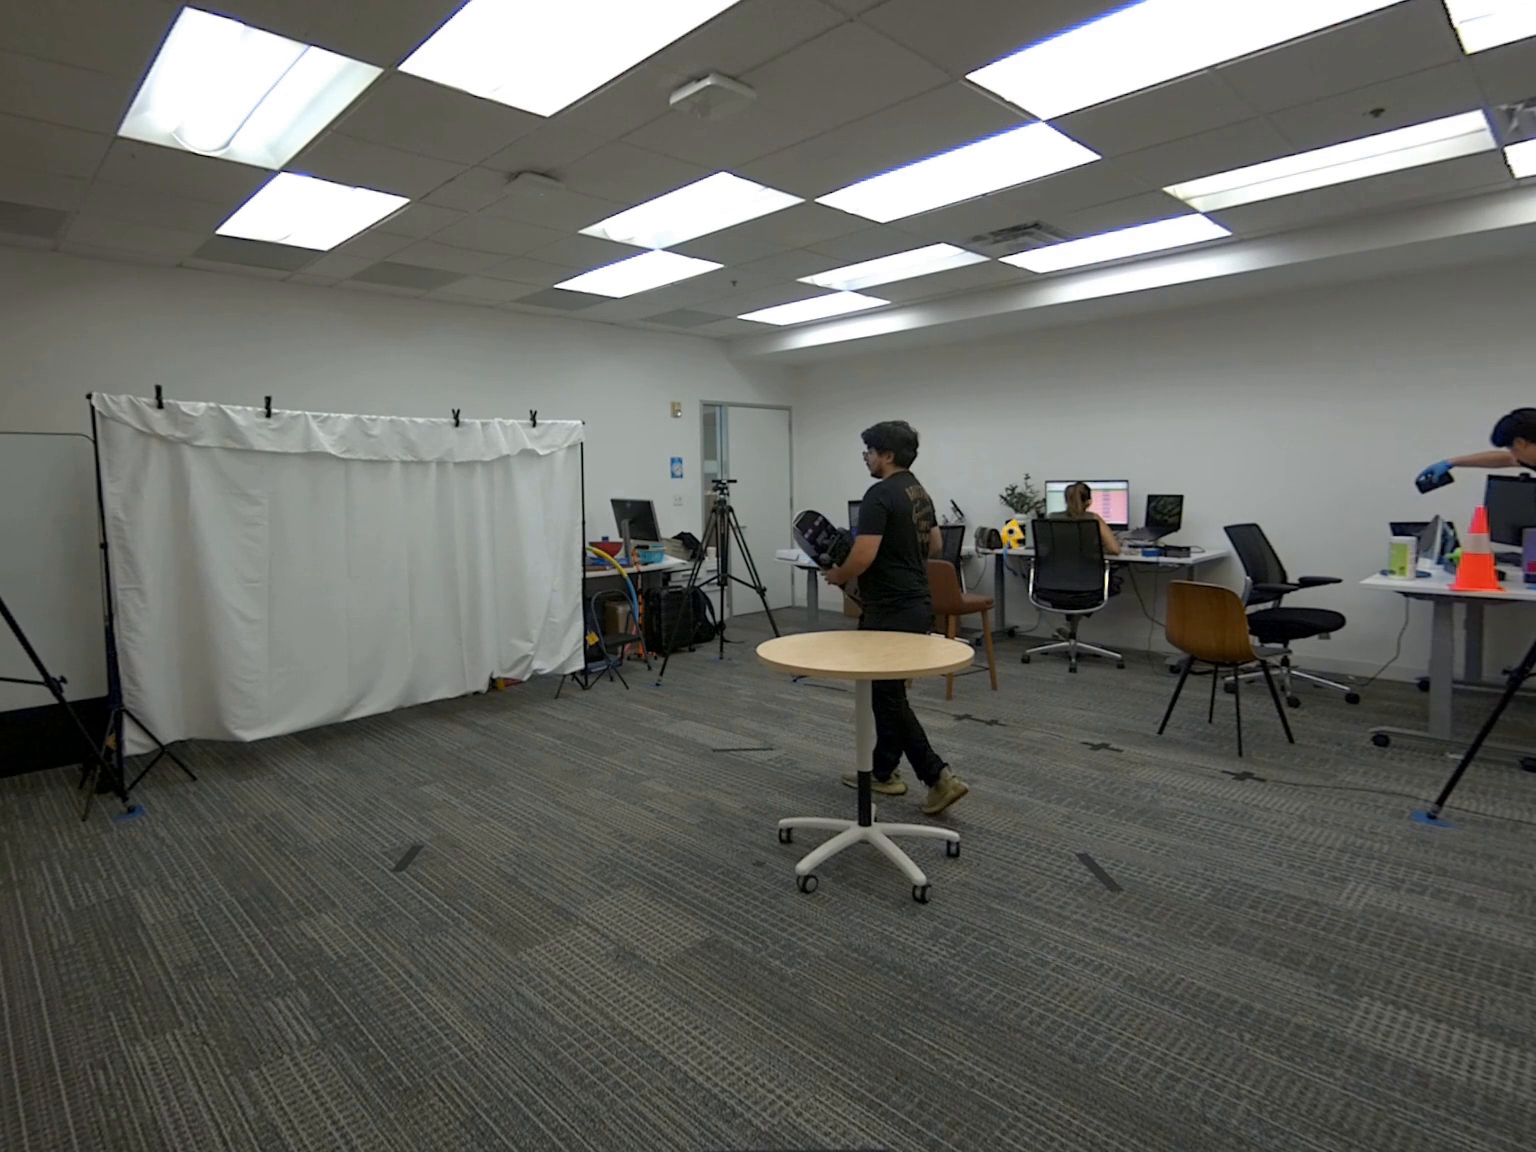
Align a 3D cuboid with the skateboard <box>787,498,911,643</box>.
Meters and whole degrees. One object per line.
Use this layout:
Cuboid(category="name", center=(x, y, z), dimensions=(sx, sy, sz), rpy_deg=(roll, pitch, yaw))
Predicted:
Cuboid(category="skateboard", center=(0.407, -0.017, 3.879), dimensions=(0.762, 0.194, 0.113), rpy_deg=(45, -24, -25))
